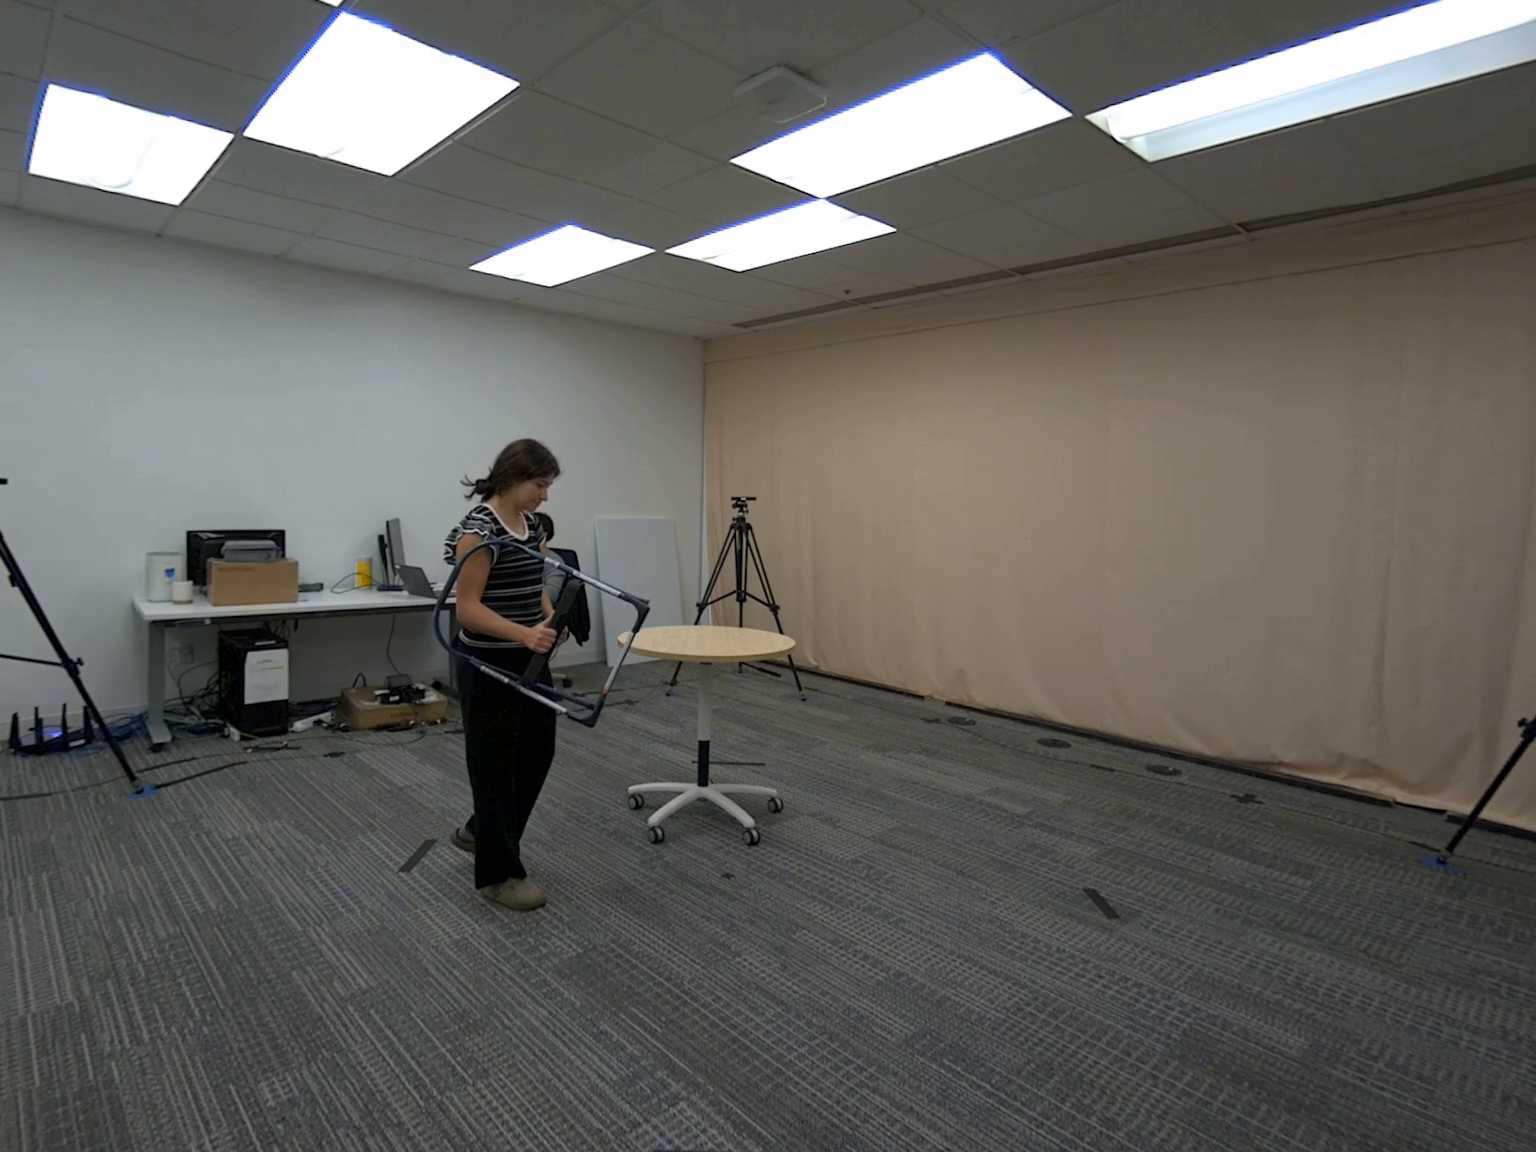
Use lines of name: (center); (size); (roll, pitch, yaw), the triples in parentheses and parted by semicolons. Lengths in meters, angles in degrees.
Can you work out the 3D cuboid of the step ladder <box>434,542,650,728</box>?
step ladder: (-0.755, 0.155, 2.721); (0.601, 0.431, 0.352); (26, -4, -9)
